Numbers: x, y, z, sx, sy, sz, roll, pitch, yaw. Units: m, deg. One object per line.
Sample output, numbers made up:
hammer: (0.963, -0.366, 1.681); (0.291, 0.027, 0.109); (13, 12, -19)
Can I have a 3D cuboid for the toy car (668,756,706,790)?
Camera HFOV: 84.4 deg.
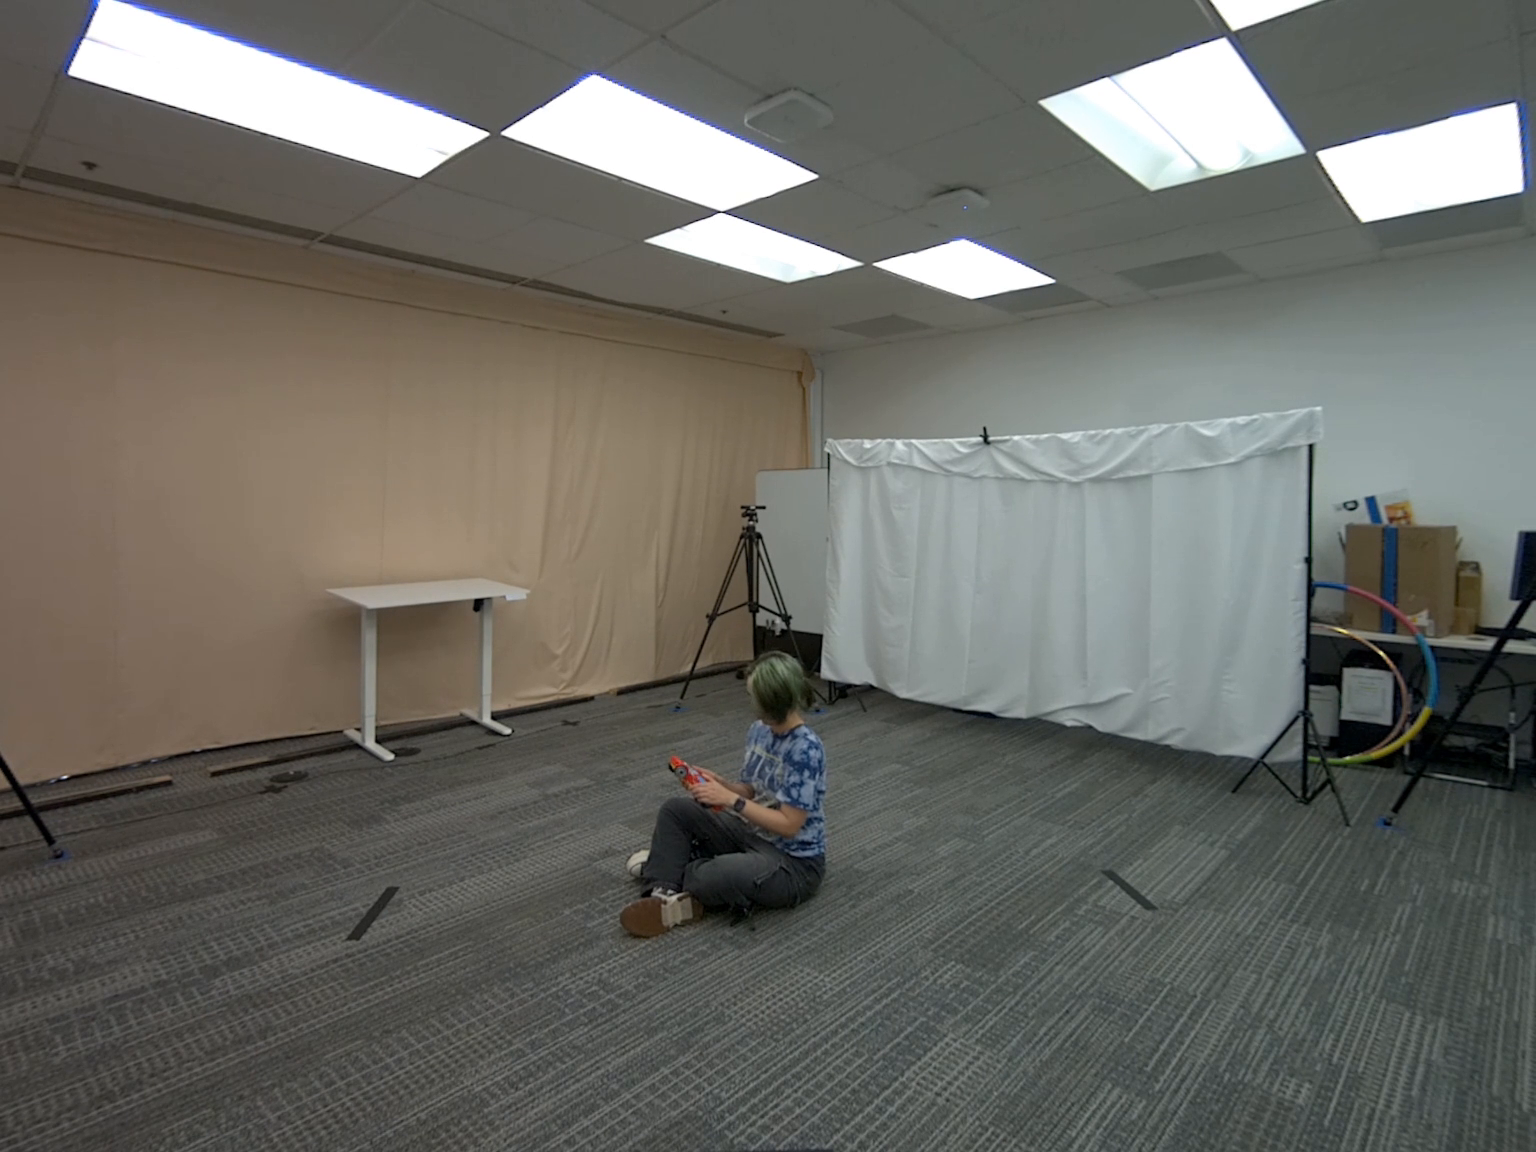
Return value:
toy car: (-0.253, 0.750, 2.982); (0.251, 0.083, 0.132); (41, -13, -11)
